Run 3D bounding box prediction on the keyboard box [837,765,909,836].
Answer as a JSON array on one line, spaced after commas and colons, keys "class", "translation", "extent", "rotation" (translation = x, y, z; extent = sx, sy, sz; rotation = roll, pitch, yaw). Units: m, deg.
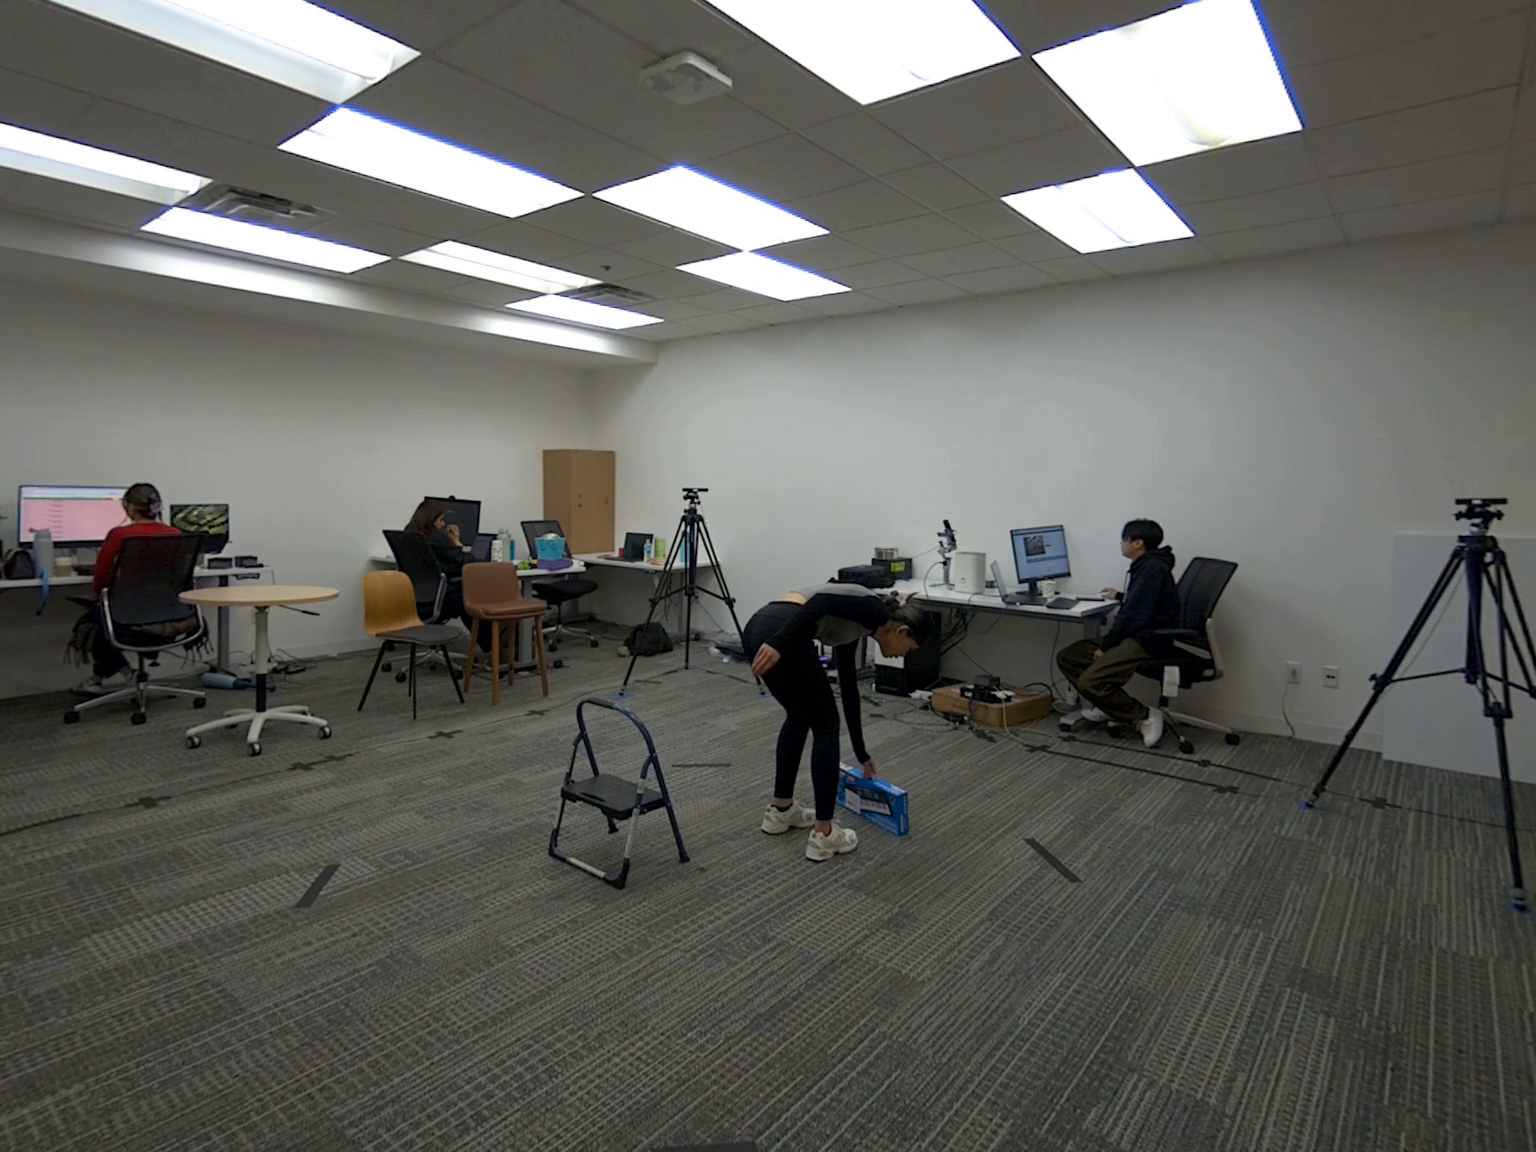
[{"class": "keyboard box", "translation": [0.418, 0.942, 3.645], "extent": [0.057, 0.175, 0.451], "rotation": [-6, 9, -32]}]
